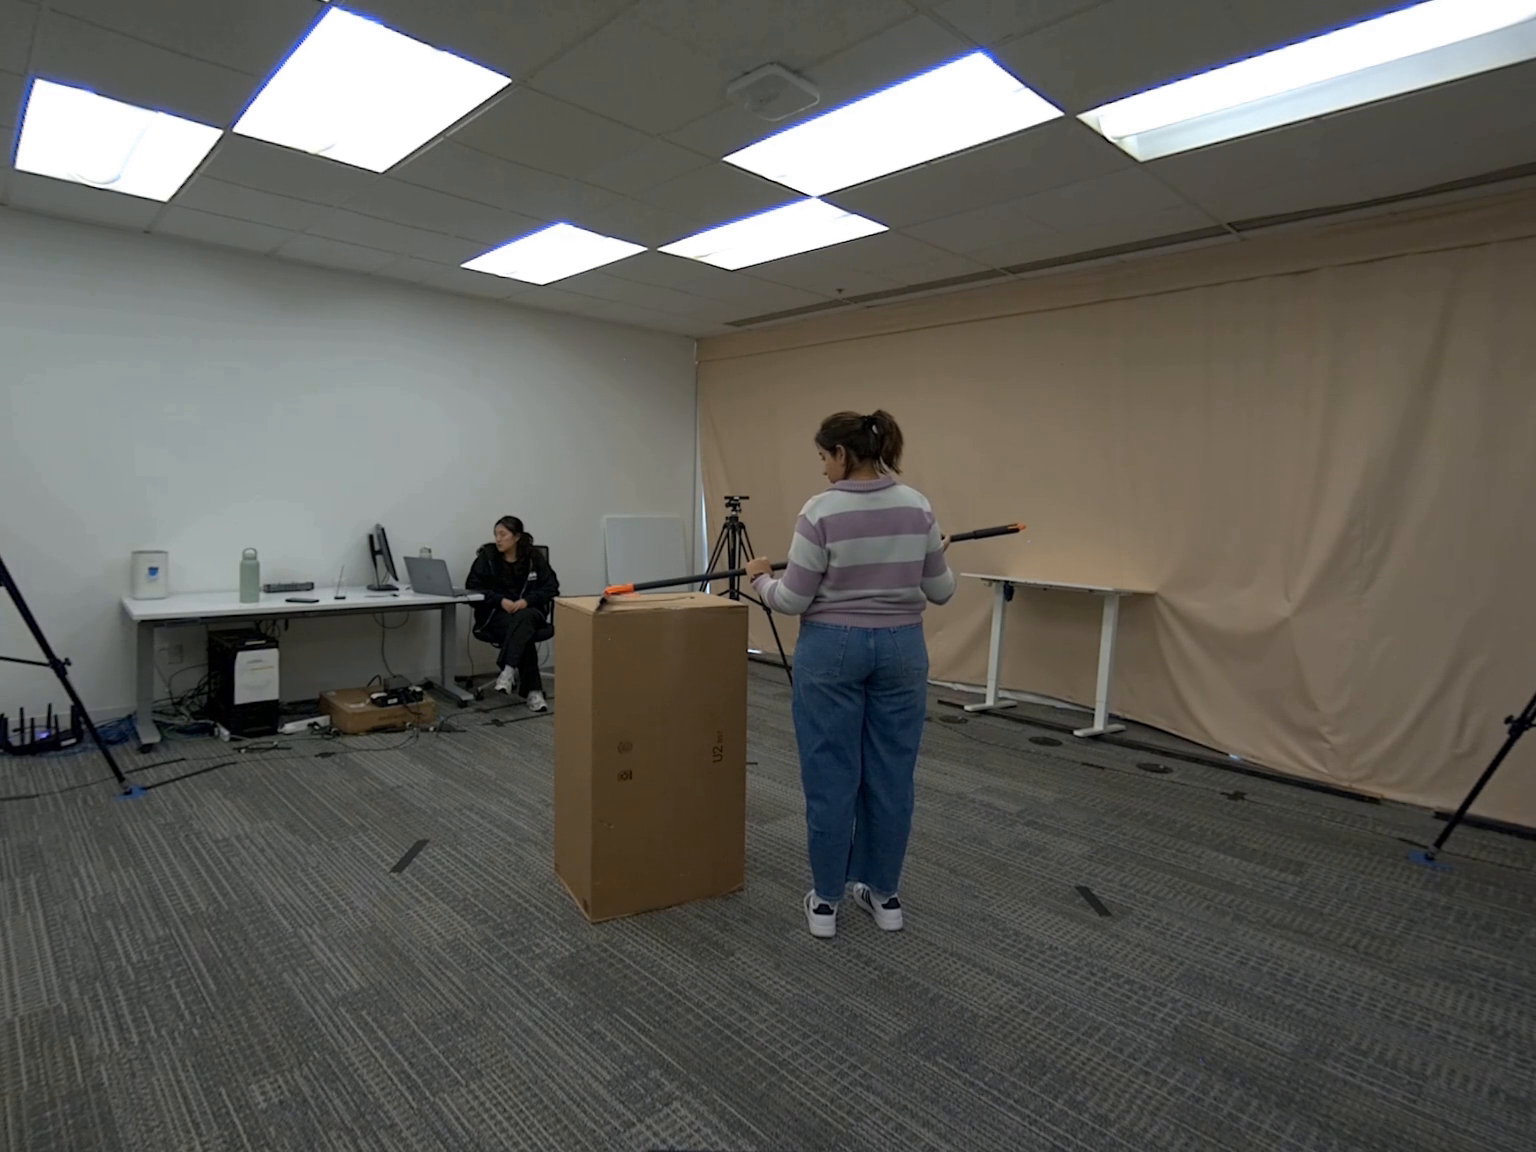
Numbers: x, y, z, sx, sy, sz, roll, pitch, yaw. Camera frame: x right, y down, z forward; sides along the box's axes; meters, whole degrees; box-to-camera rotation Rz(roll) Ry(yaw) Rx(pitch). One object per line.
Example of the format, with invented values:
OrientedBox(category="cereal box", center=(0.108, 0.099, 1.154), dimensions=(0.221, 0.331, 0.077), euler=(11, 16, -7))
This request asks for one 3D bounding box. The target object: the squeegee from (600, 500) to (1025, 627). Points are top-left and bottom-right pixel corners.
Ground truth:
OrientedBox(category="squeegee", center=(0.167, -0.061, 2.971), dimensions=(1.535, 0.052, 0.441), euler=(-10, 10, -2))
